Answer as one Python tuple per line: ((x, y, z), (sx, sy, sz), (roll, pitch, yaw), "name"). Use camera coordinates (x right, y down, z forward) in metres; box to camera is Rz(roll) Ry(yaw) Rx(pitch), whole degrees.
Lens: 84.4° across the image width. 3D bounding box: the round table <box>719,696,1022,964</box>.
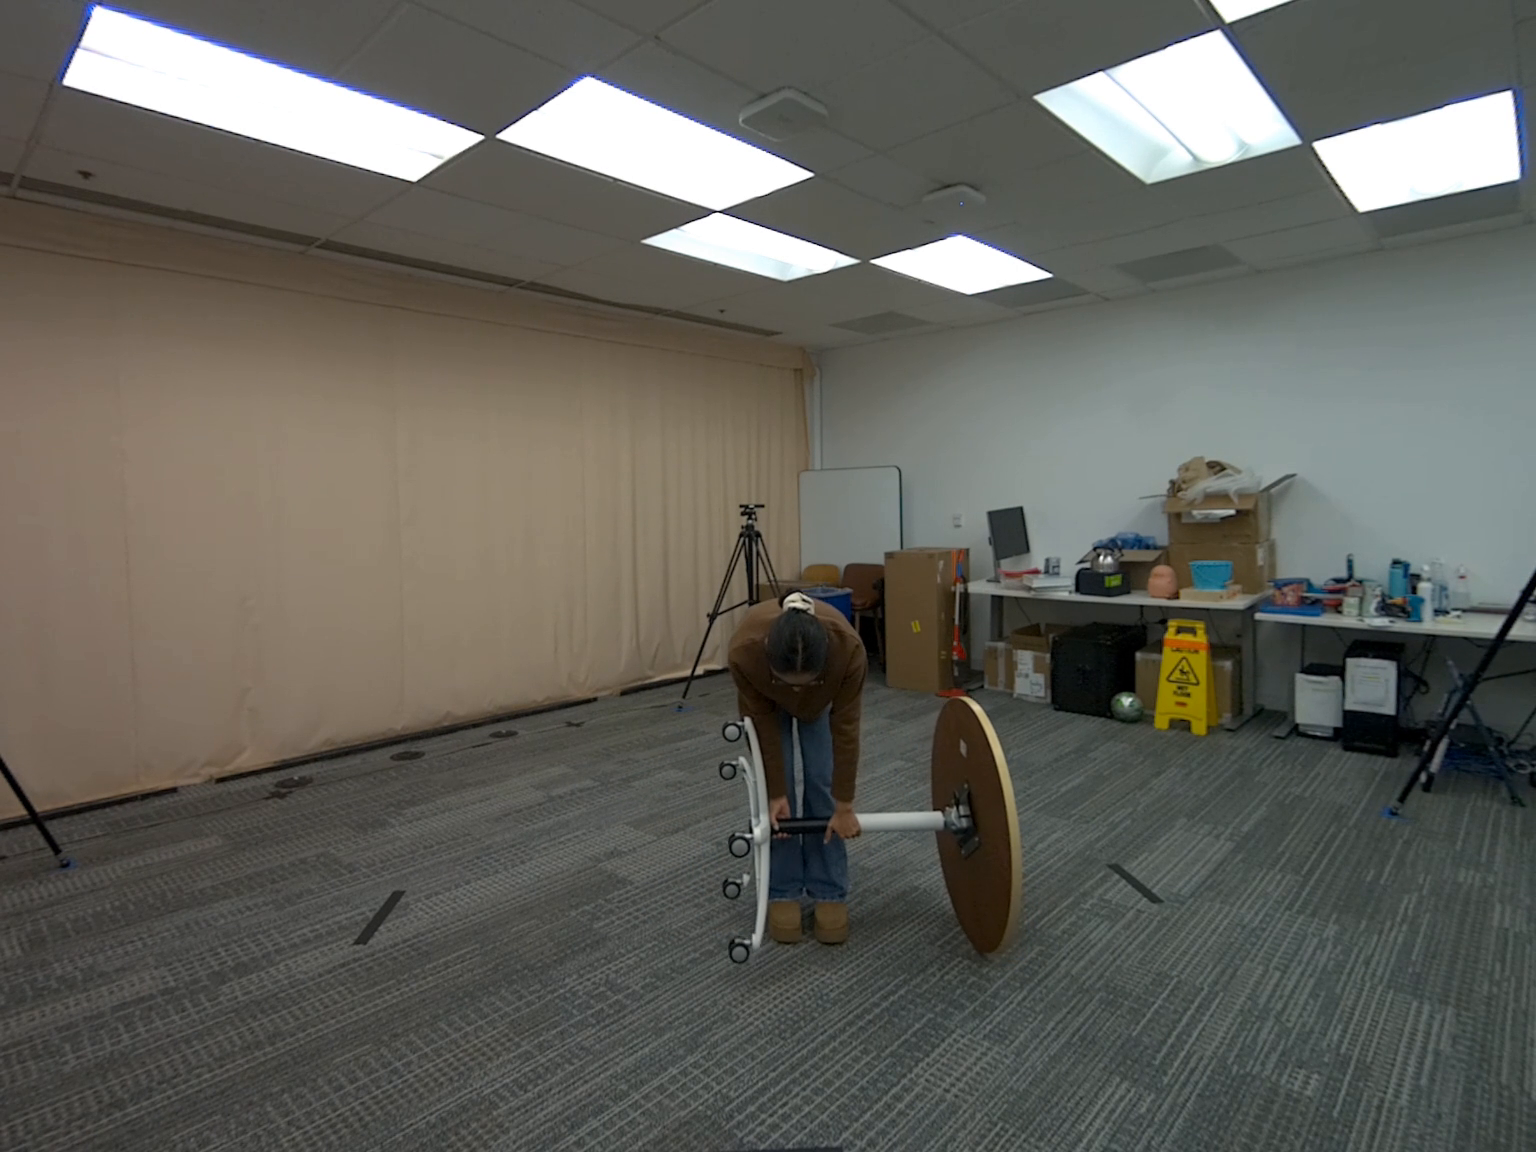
((0.263, 0.794, 2.640), (0.791, 0.762, 0.769), (-3, 4, -4), "round table")
